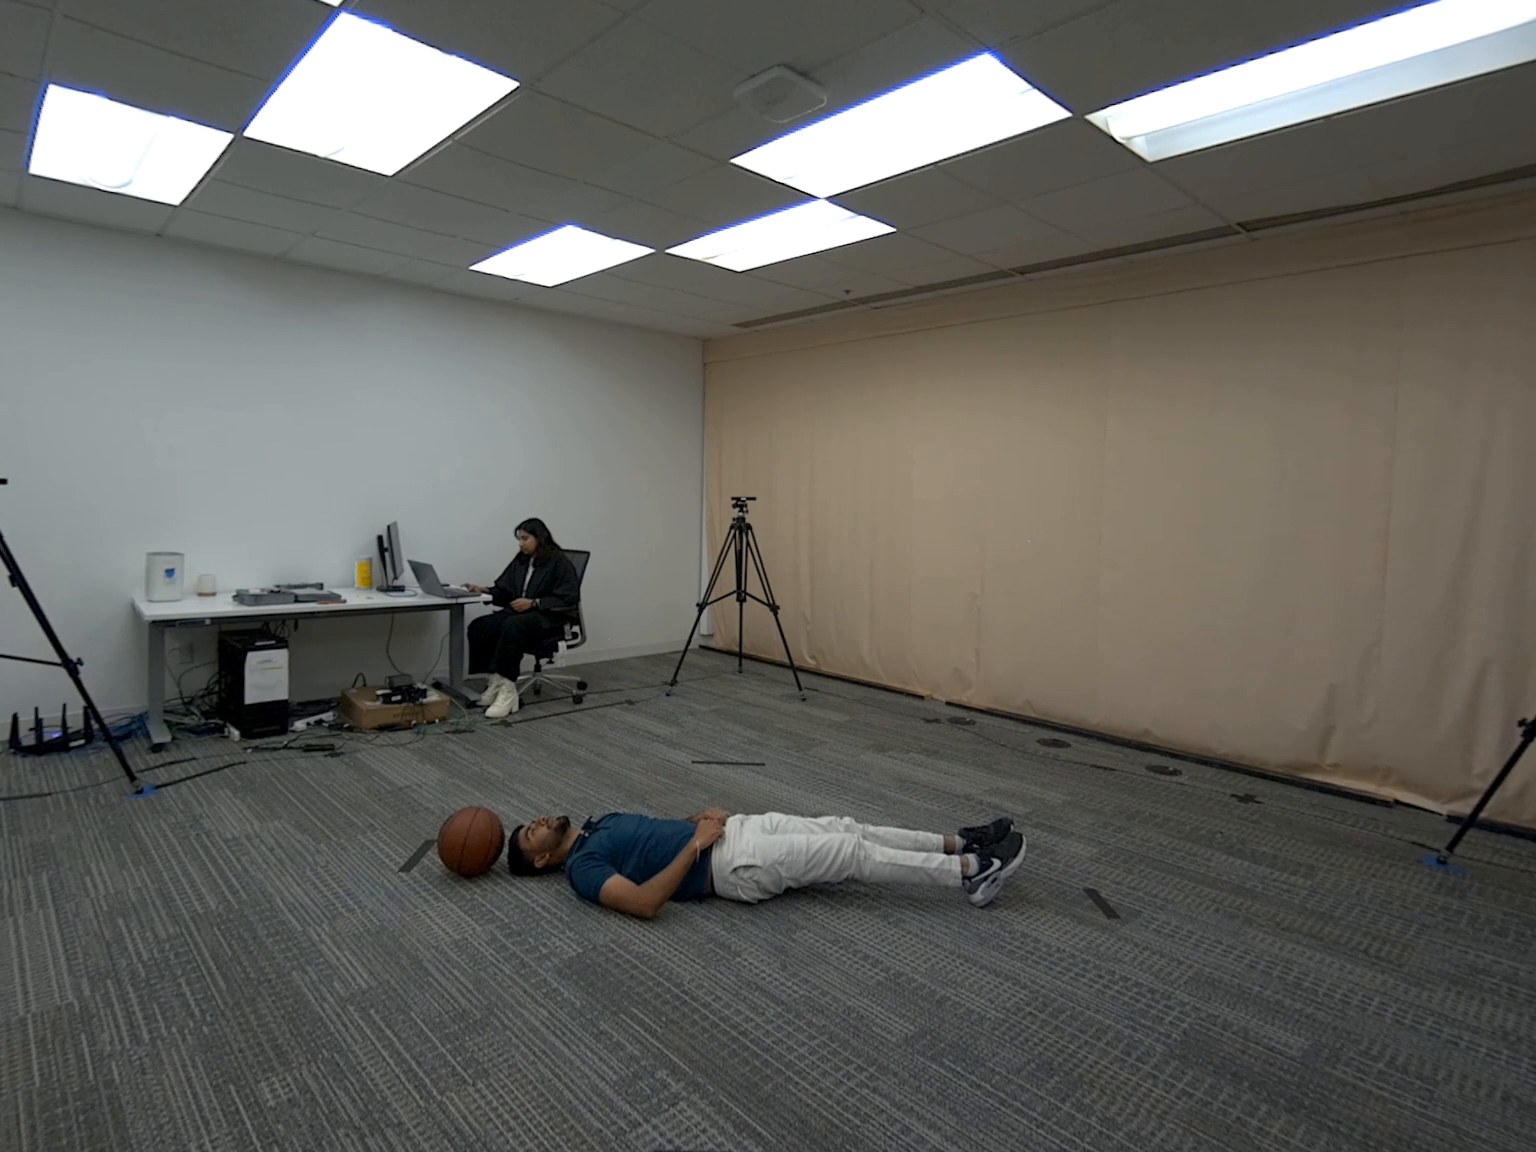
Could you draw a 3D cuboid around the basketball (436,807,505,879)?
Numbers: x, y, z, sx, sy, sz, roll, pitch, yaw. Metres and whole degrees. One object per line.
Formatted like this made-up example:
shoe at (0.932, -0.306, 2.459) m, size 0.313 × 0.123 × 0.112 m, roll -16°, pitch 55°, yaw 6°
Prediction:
basketball at (-1.095, 0.969, 3.073) m, size 0.236 × 0.235 × 0.237 m, roll 1°, pitch 4°, yaw -1°
